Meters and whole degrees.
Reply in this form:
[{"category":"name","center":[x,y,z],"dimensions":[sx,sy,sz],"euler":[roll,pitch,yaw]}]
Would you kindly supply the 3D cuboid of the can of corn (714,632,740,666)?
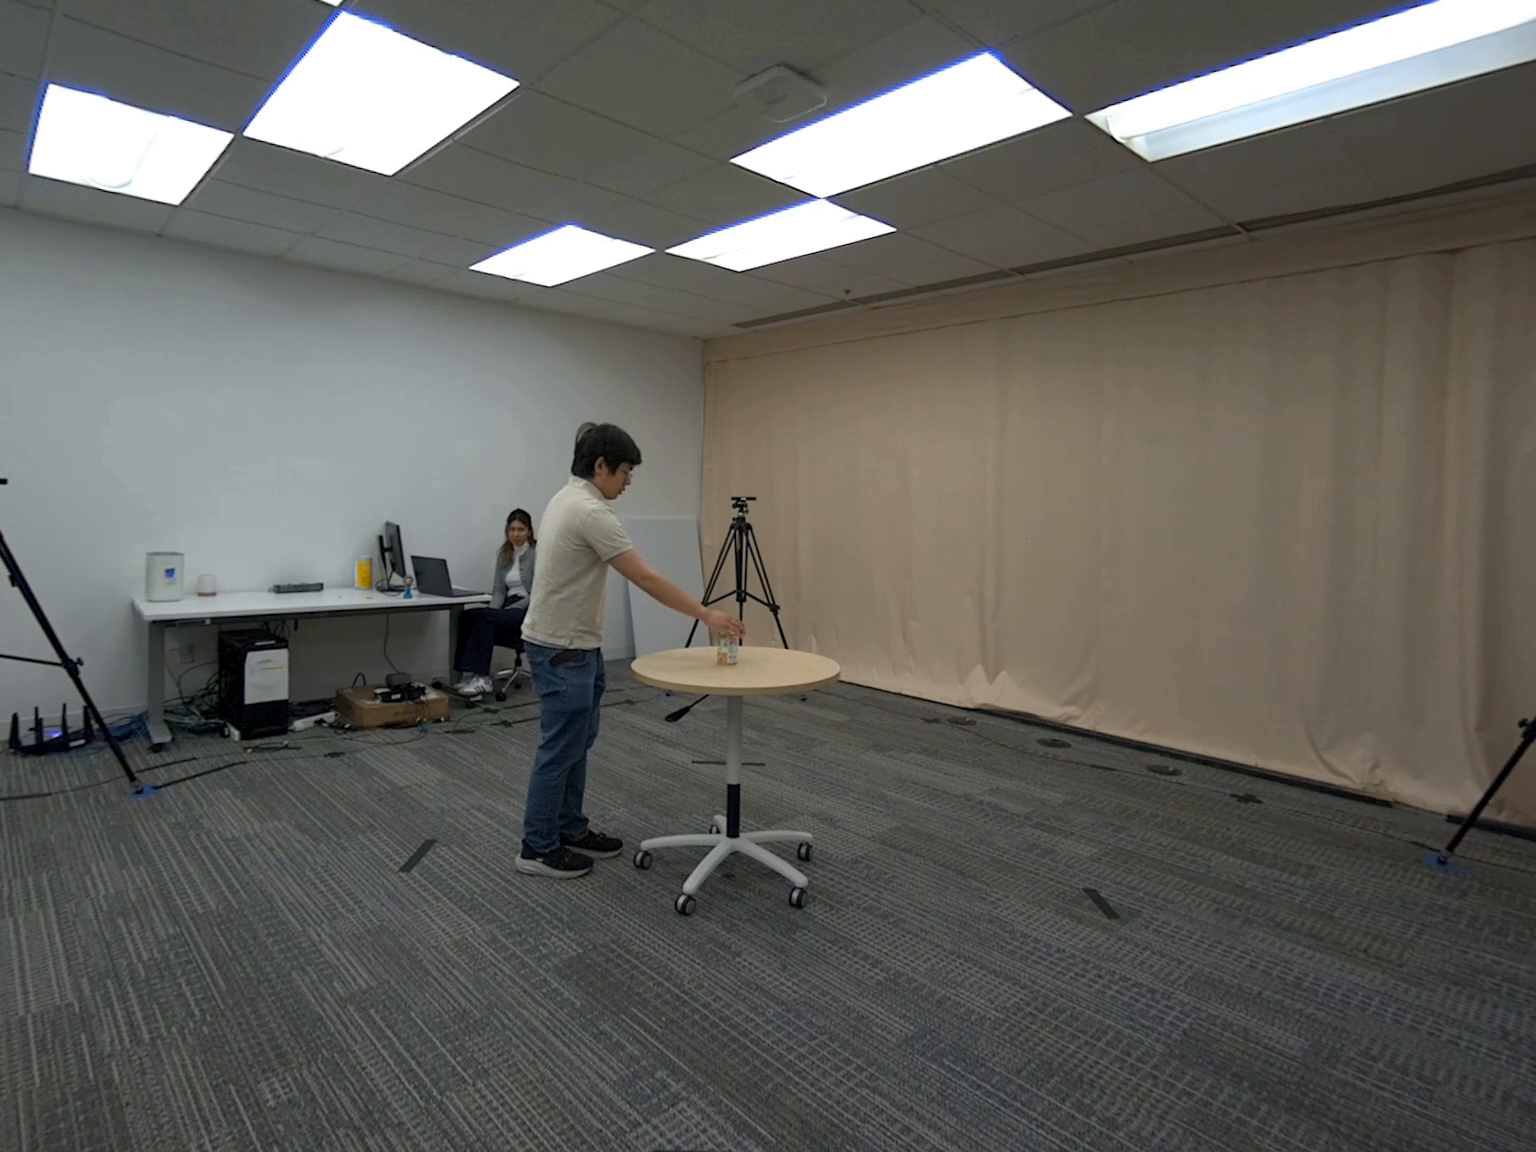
[{"category":"can of corn","center":[-0.156,0.269,3.106],"dimensions":[0.074,0.111,0.074],"euler":[-1,4,-1]}]
